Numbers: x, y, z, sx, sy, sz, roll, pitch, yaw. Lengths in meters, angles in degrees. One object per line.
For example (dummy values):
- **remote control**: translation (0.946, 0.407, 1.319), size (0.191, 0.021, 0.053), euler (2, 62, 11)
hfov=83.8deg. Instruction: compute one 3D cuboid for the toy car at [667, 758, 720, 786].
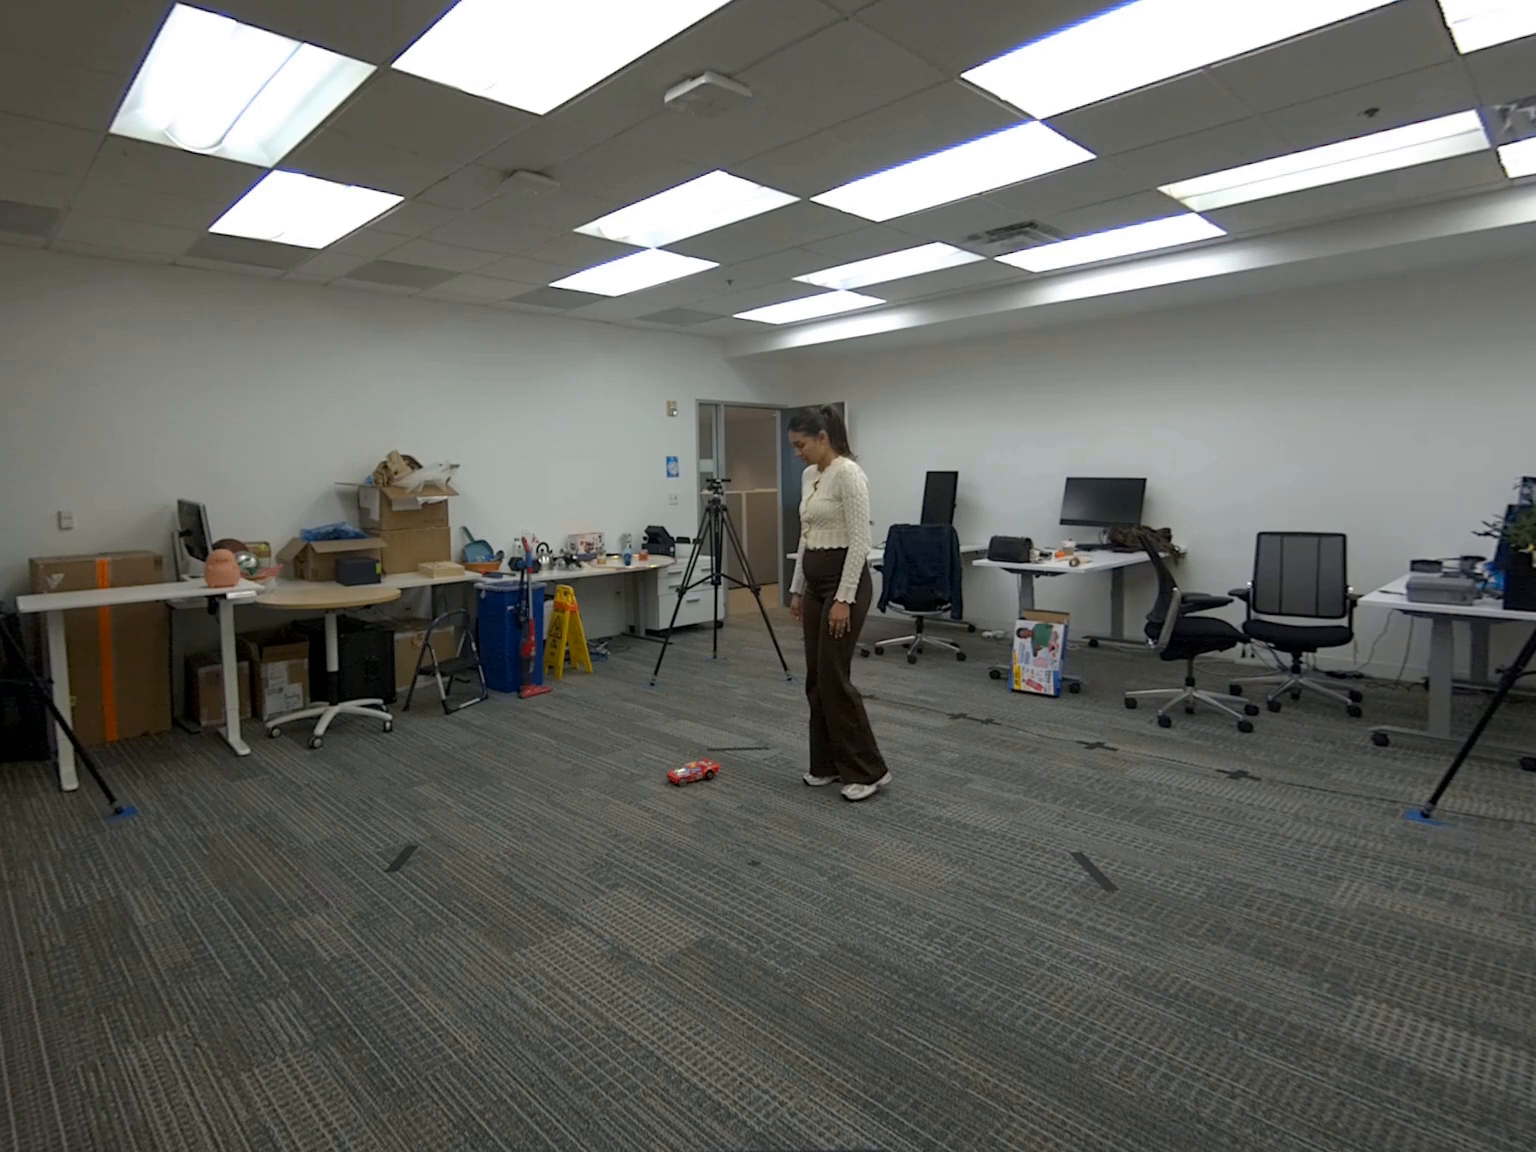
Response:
- **toy car**: translation (-0.346, 0.918, 4.002), size (0.250, 0.082, 0.134), euler (-18, 13, -31)
